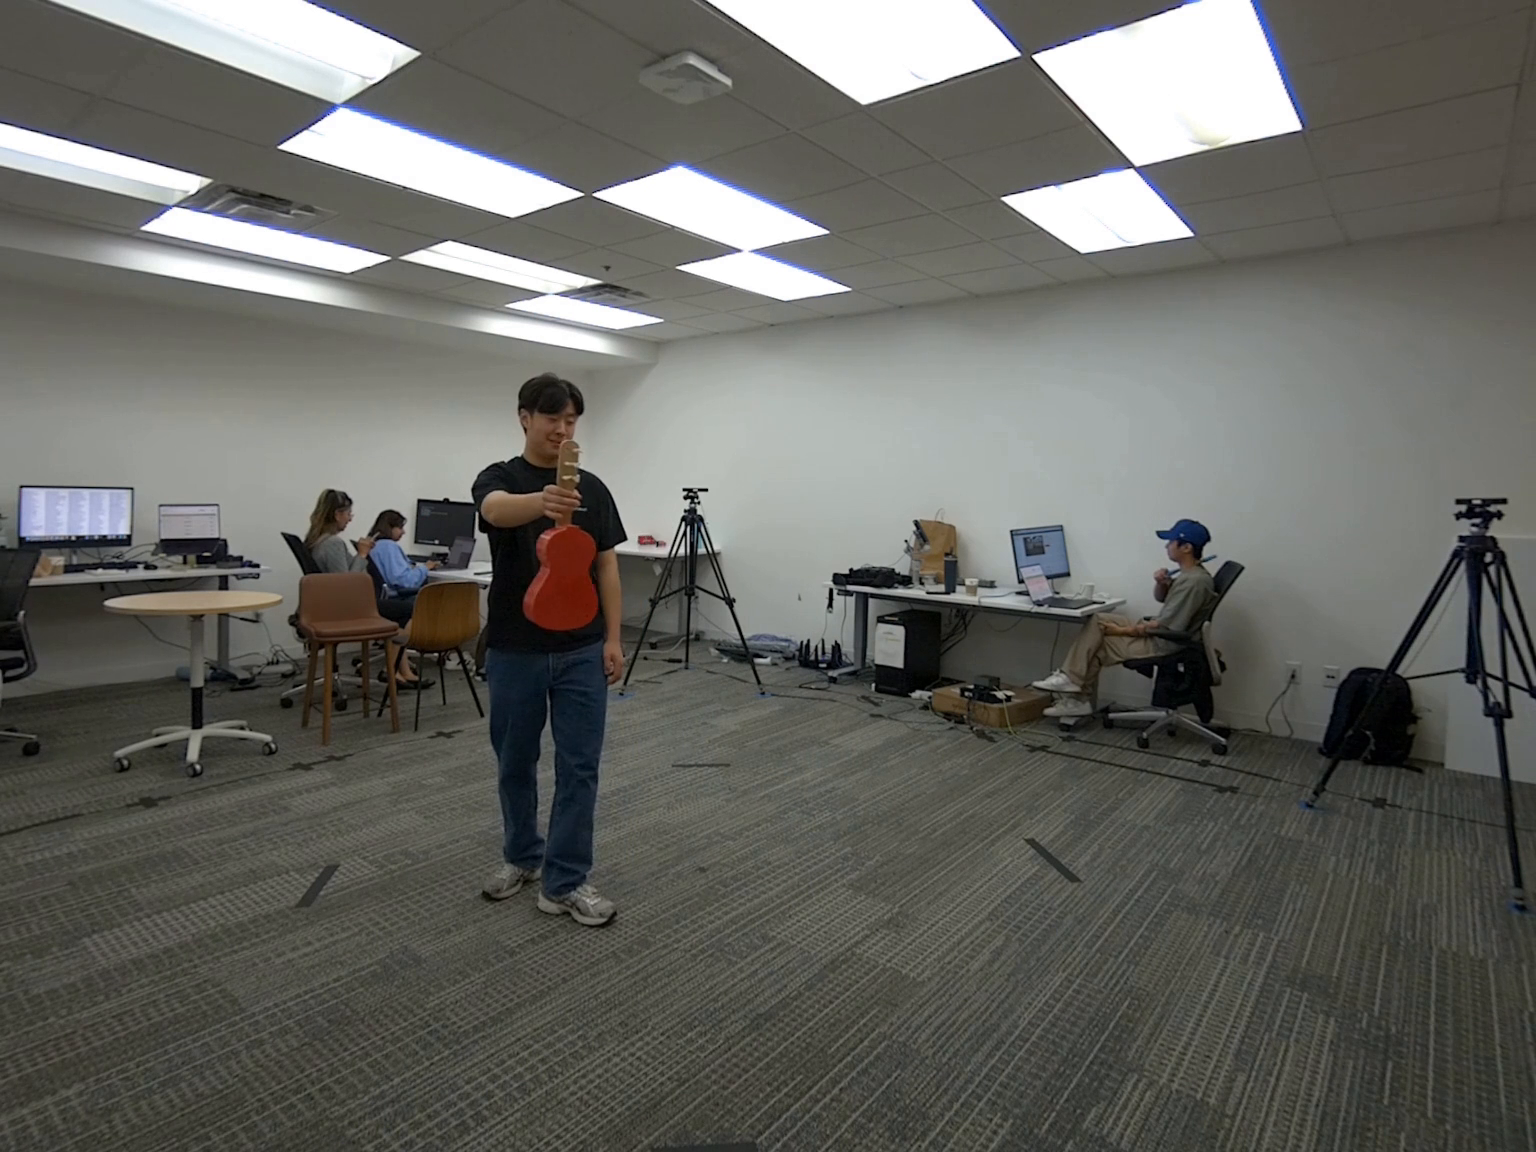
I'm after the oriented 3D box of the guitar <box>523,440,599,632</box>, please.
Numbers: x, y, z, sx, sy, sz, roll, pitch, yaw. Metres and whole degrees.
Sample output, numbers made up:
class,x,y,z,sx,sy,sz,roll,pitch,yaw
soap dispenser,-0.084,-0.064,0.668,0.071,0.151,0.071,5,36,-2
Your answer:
class,x,y,z,sx,sy,sz,roll,pitch,yaw
guitar,-0.568,-0.108,2.251,0.188,0.493,0.073,-10,13,-37
